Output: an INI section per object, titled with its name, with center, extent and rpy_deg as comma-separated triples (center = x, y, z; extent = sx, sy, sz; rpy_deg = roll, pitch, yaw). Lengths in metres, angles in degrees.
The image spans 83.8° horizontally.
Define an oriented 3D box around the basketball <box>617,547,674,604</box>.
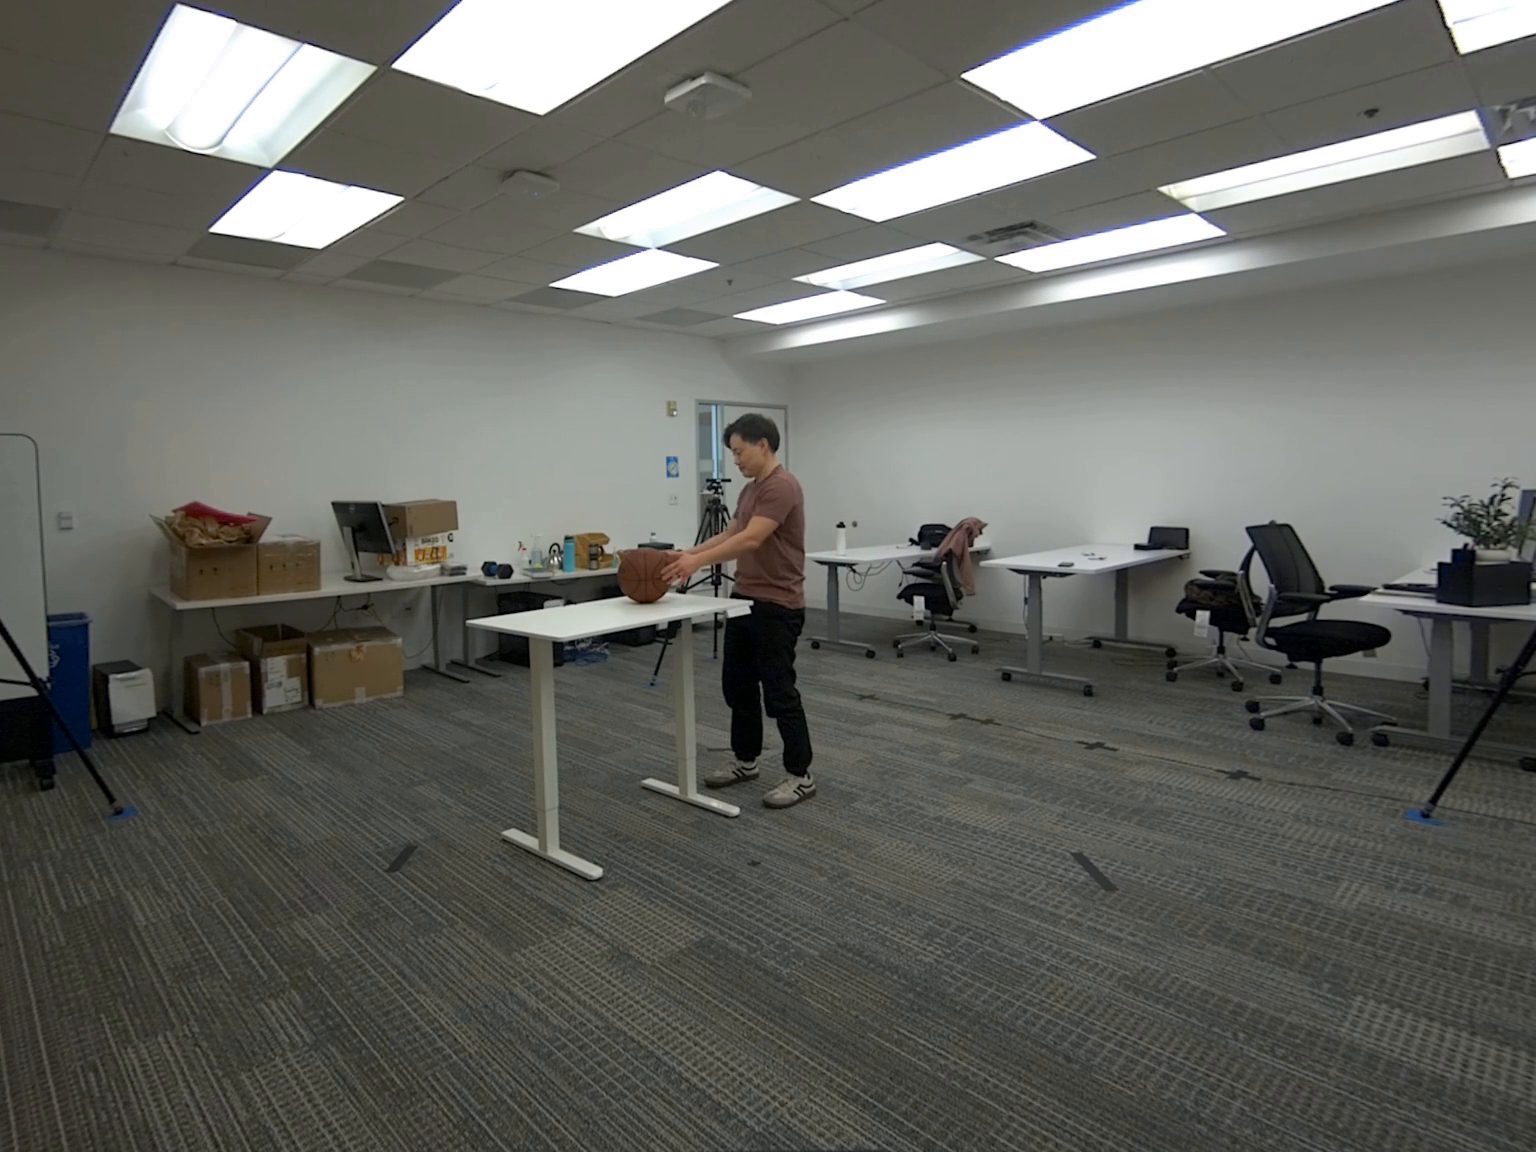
[basketball]
center = -0.522, -0.004, 3.636
extent = 0.236, 0.235, 0.237
rpy_deg = -1, 5, -2
